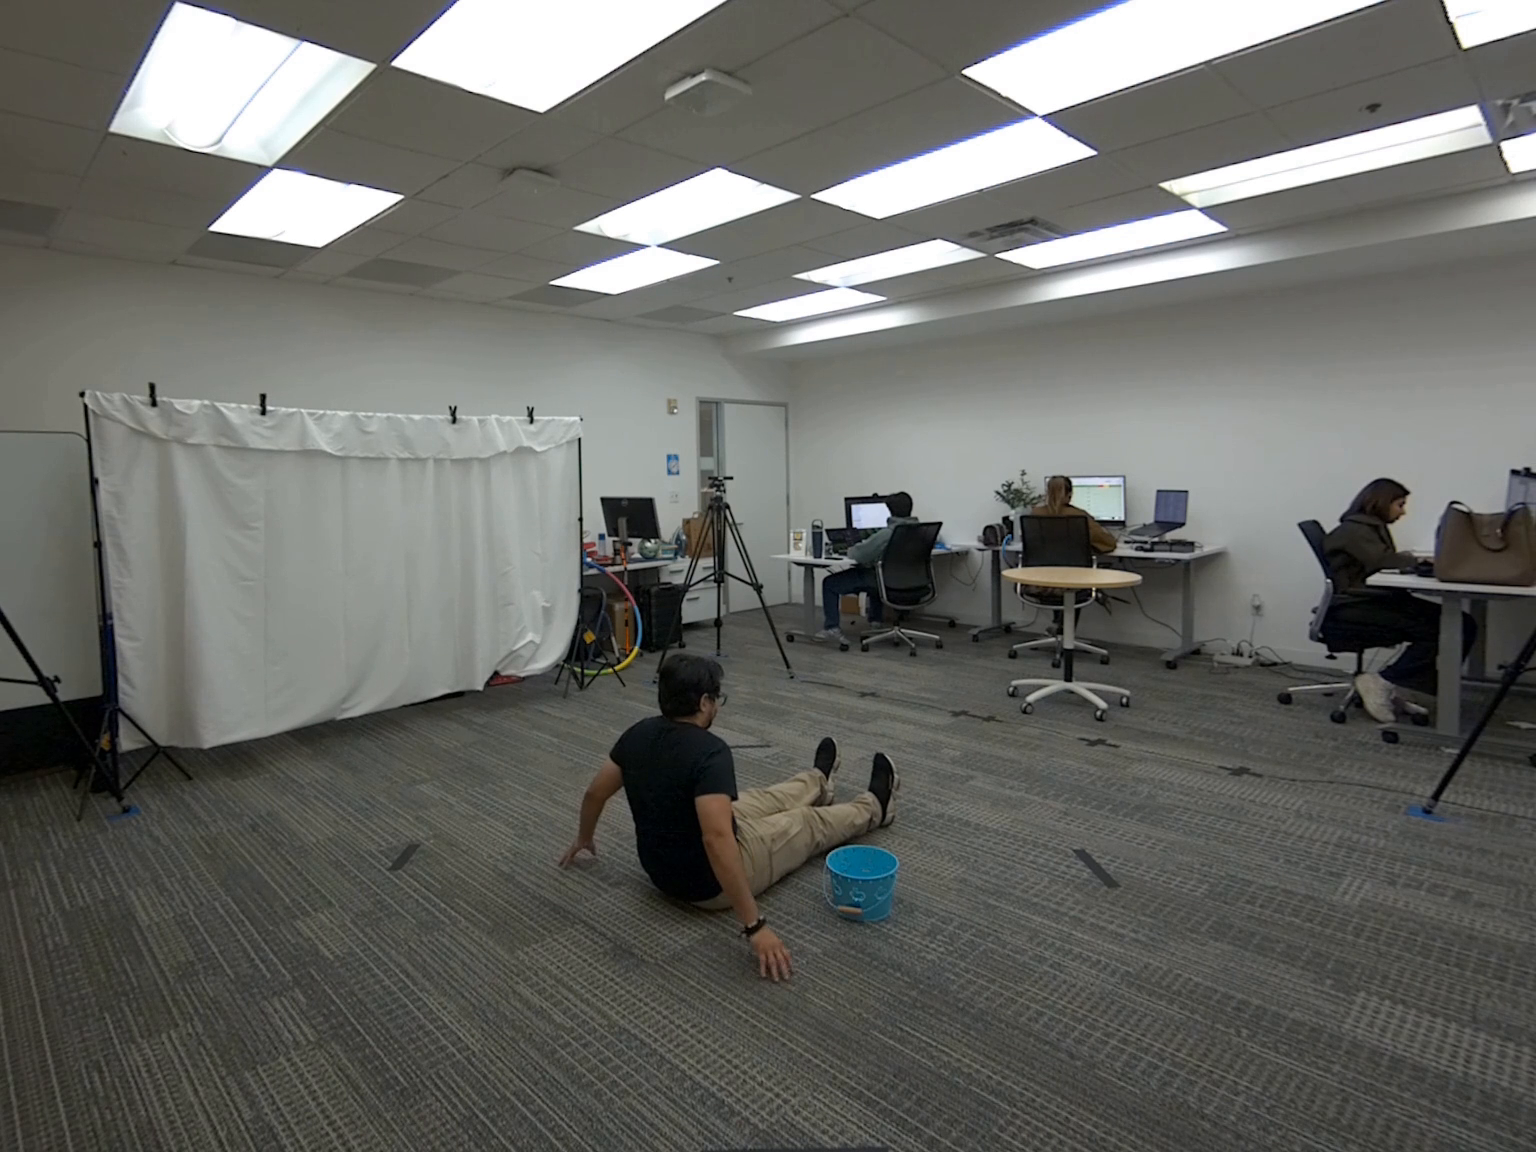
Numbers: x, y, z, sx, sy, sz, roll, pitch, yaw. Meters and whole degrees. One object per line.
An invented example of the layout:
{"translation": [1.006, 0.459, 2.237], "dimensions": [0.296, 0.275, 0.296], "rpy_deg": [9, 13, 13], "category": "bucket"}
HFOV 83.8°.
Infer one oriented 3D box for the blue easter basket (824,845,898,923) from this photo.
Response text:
{"translation": [0.297, 0.986, 2.756], "dimensions": [0.243, 0.155, 0.245], "rpy_deg": [-1, 6, -2], "category": "blue easter basket"}
